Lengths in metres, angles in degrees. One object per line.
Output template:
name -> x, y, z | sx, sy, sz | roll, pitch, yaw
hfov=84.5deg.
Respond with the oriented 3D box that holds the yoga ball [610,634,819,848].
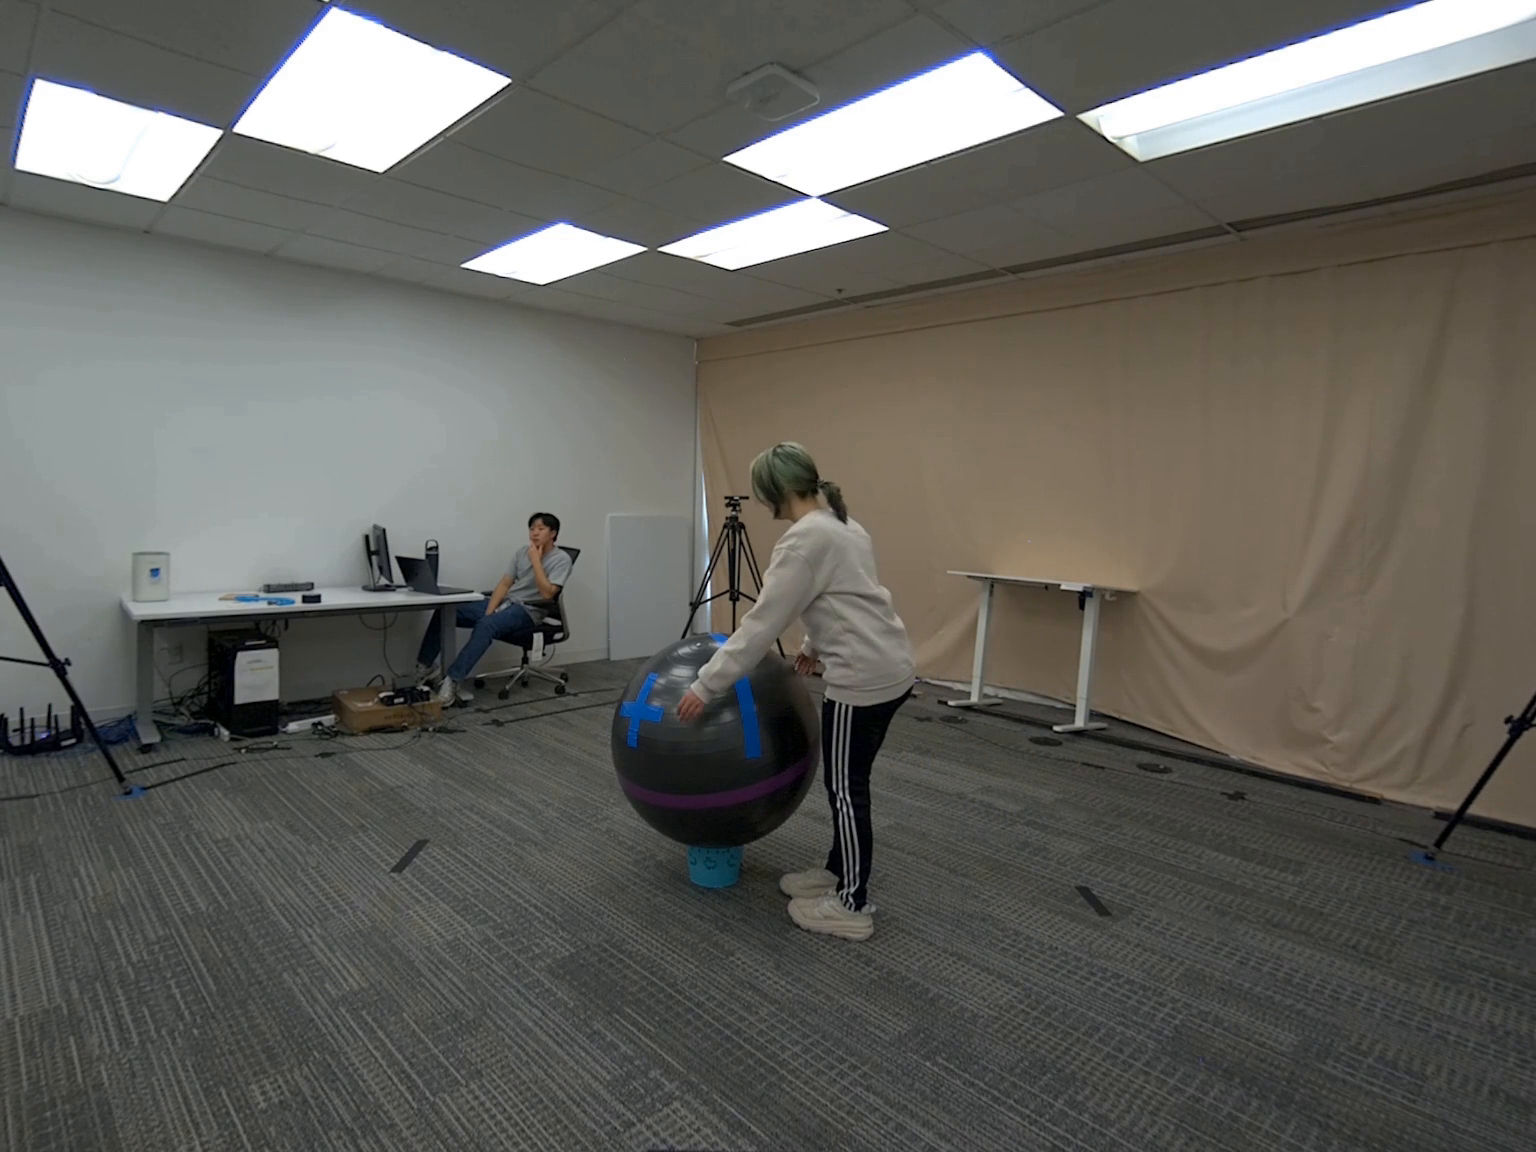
yoga ball -> -0.196, 0.596, 3.066 | 0.757, 0.756, 0.761 | 1, 4, -1
